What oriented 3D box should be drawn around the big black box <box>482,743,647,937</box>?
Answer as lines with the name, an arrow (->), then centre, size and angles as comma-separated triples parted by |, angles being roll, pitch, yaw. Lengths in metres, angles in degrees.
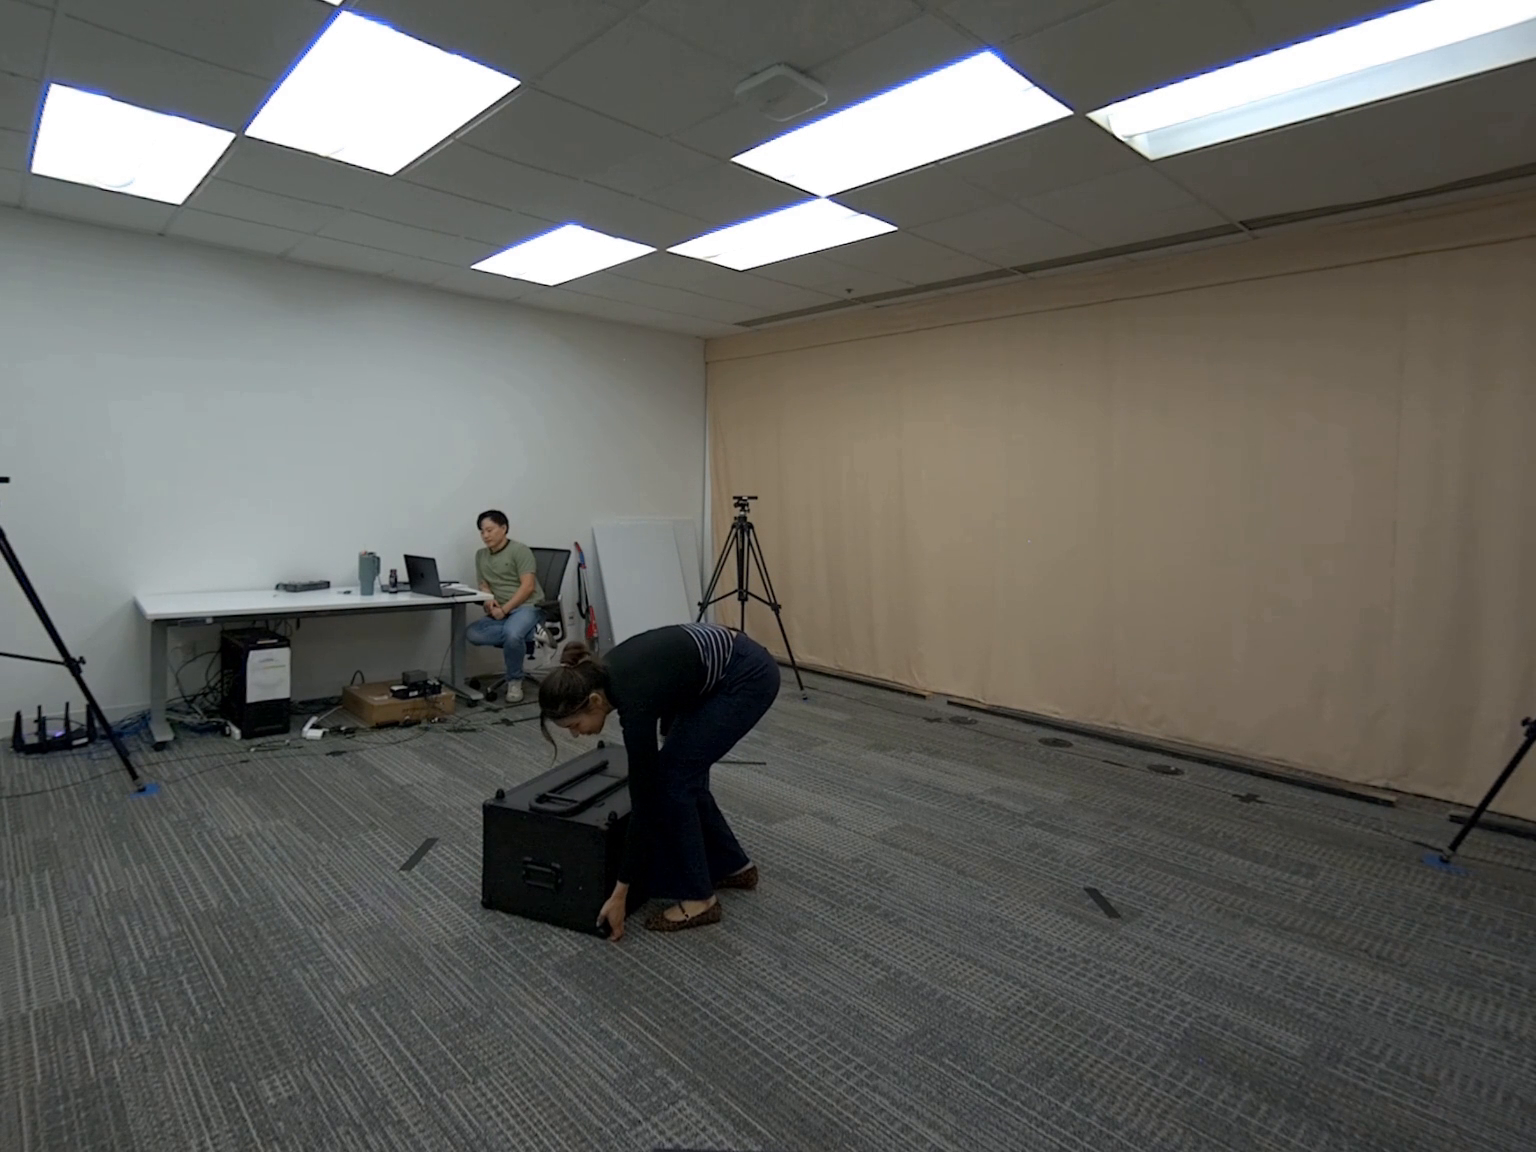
big black box -> -0.585, 0.894, 3.107 | 0.530, 0.395, 0.848 | 3, 3, 21
